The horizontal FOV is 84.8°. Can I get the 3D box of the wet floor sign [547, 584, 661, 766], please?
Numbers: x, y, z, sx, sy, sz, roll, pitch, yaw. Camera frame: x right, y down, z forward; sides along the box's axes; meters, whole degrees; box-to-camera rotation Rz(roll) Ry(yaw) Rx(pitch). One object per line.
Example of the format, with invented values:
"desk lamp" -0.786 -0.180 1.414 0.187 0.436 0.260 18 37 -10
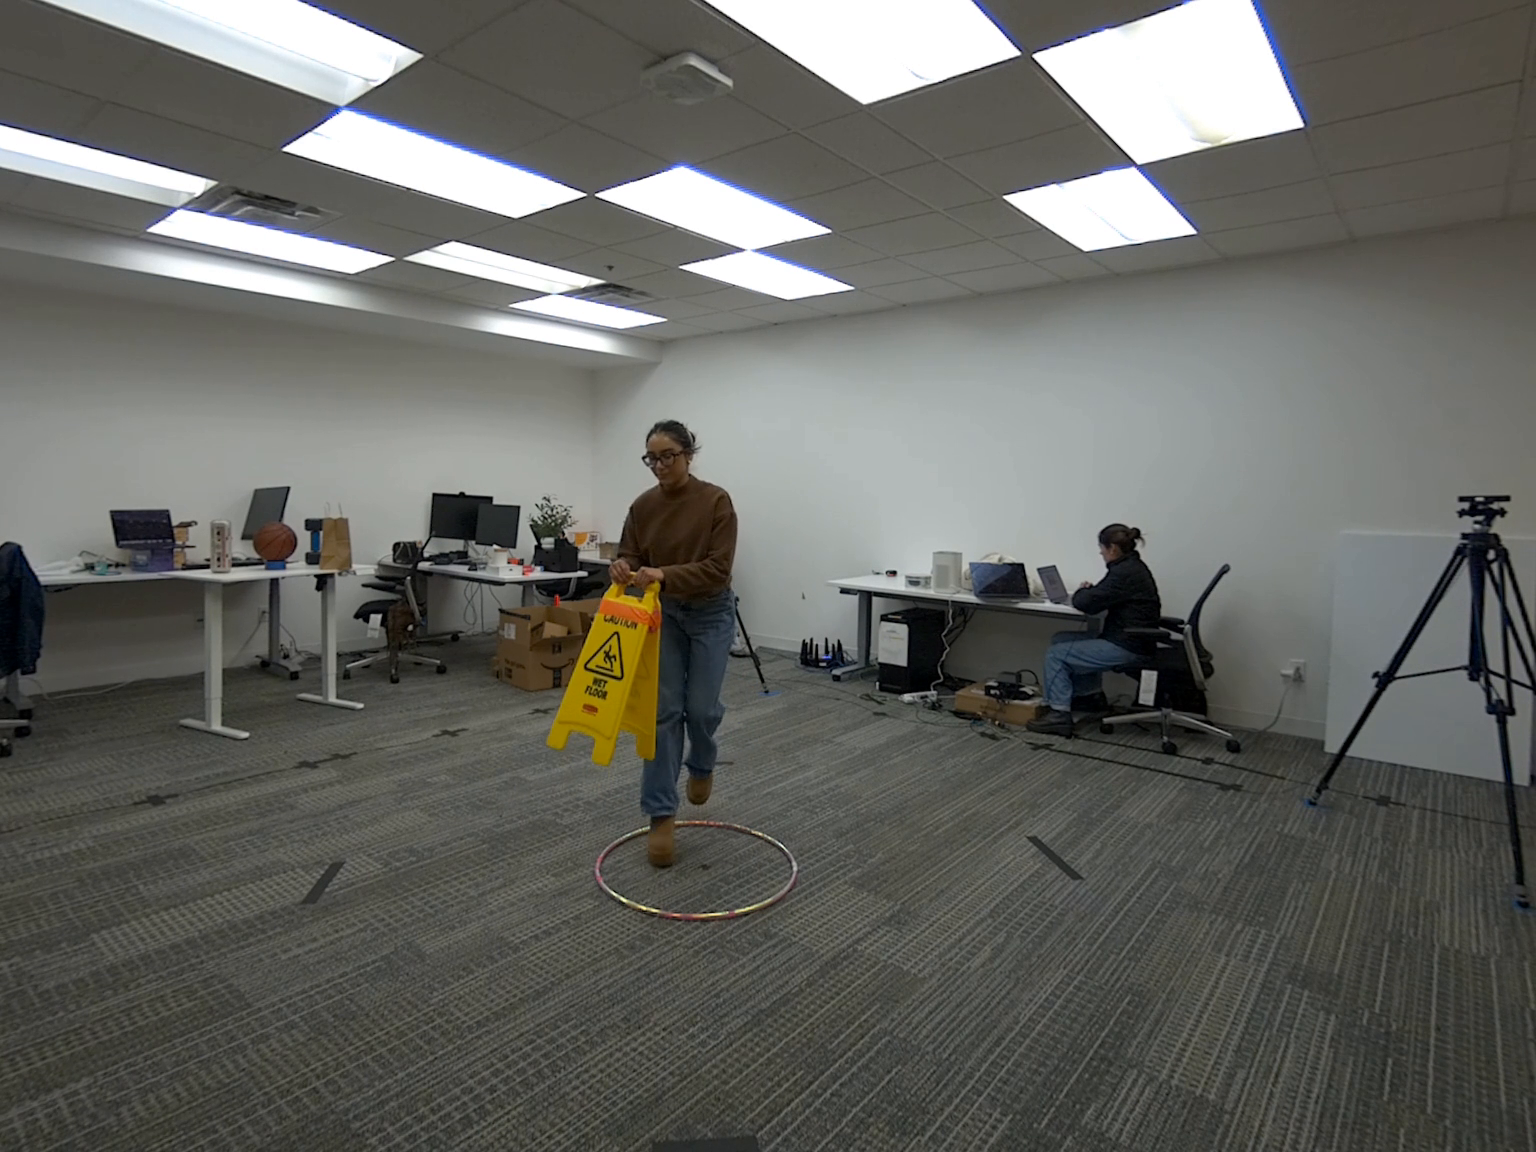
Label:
"wet floor sign" -0.546 0.339 3.046 0.291 0.647 0.280 9 -2 30
